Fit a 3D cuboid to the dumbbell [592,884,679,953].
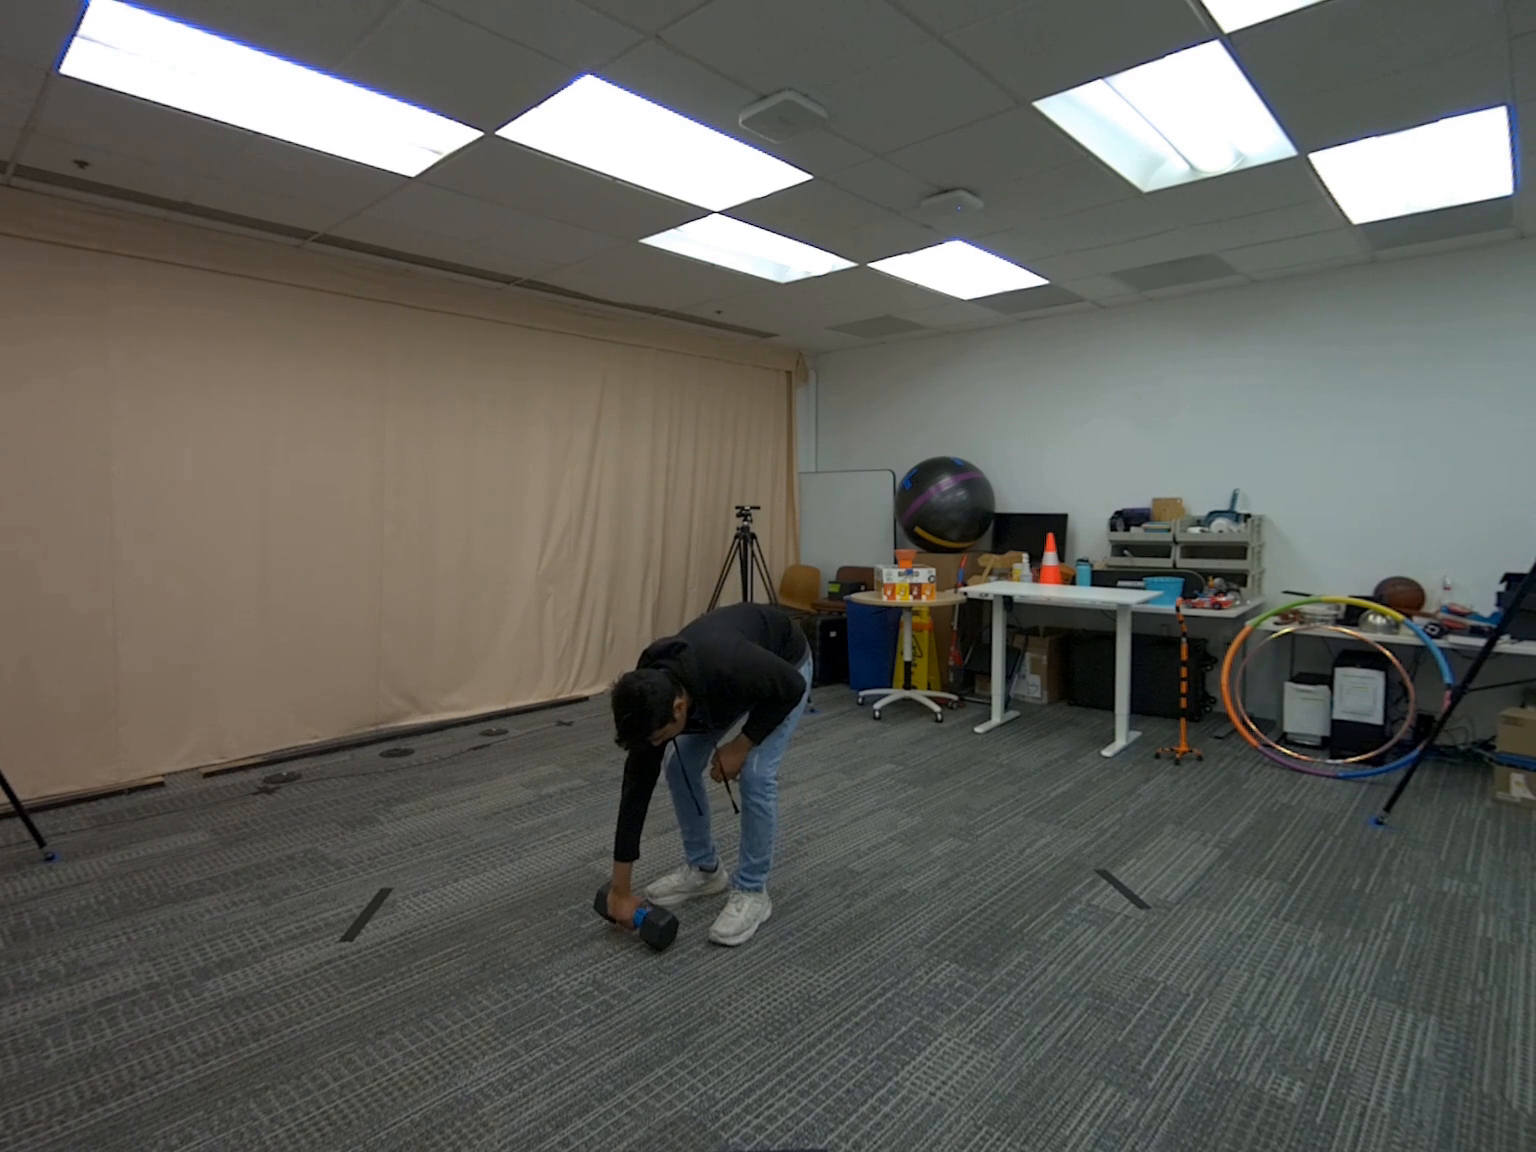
[{"bbox_3d":[-0.423,1.080,2.706,0.303,0.108,0.120,9,17,37],"label":"dumbbell"}]
